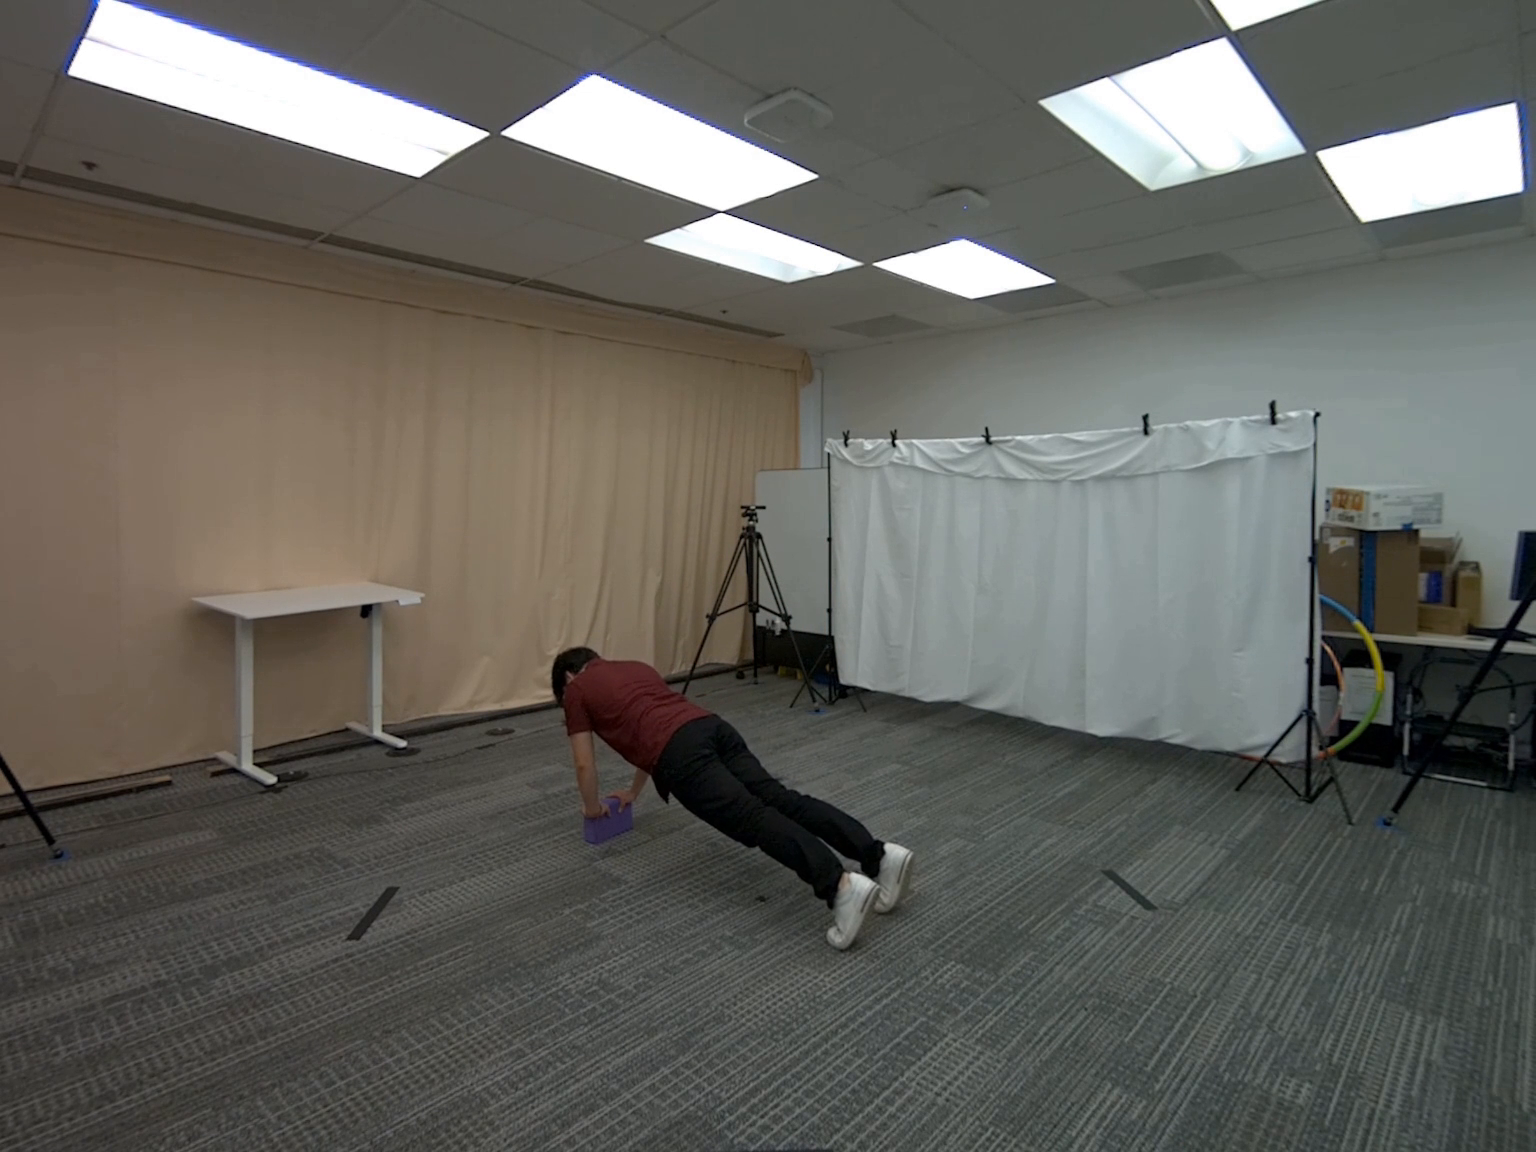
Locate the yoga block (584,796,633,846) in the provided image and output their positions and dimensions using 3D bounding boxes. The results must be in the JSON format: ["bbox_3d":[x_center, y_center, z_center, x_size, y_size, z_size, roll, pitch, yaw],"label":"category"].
[{"bbox_3d":[-0.680,1.029,3.576,0.079,0.149,0.223,1,4,35],"label":"yoga block"}]
